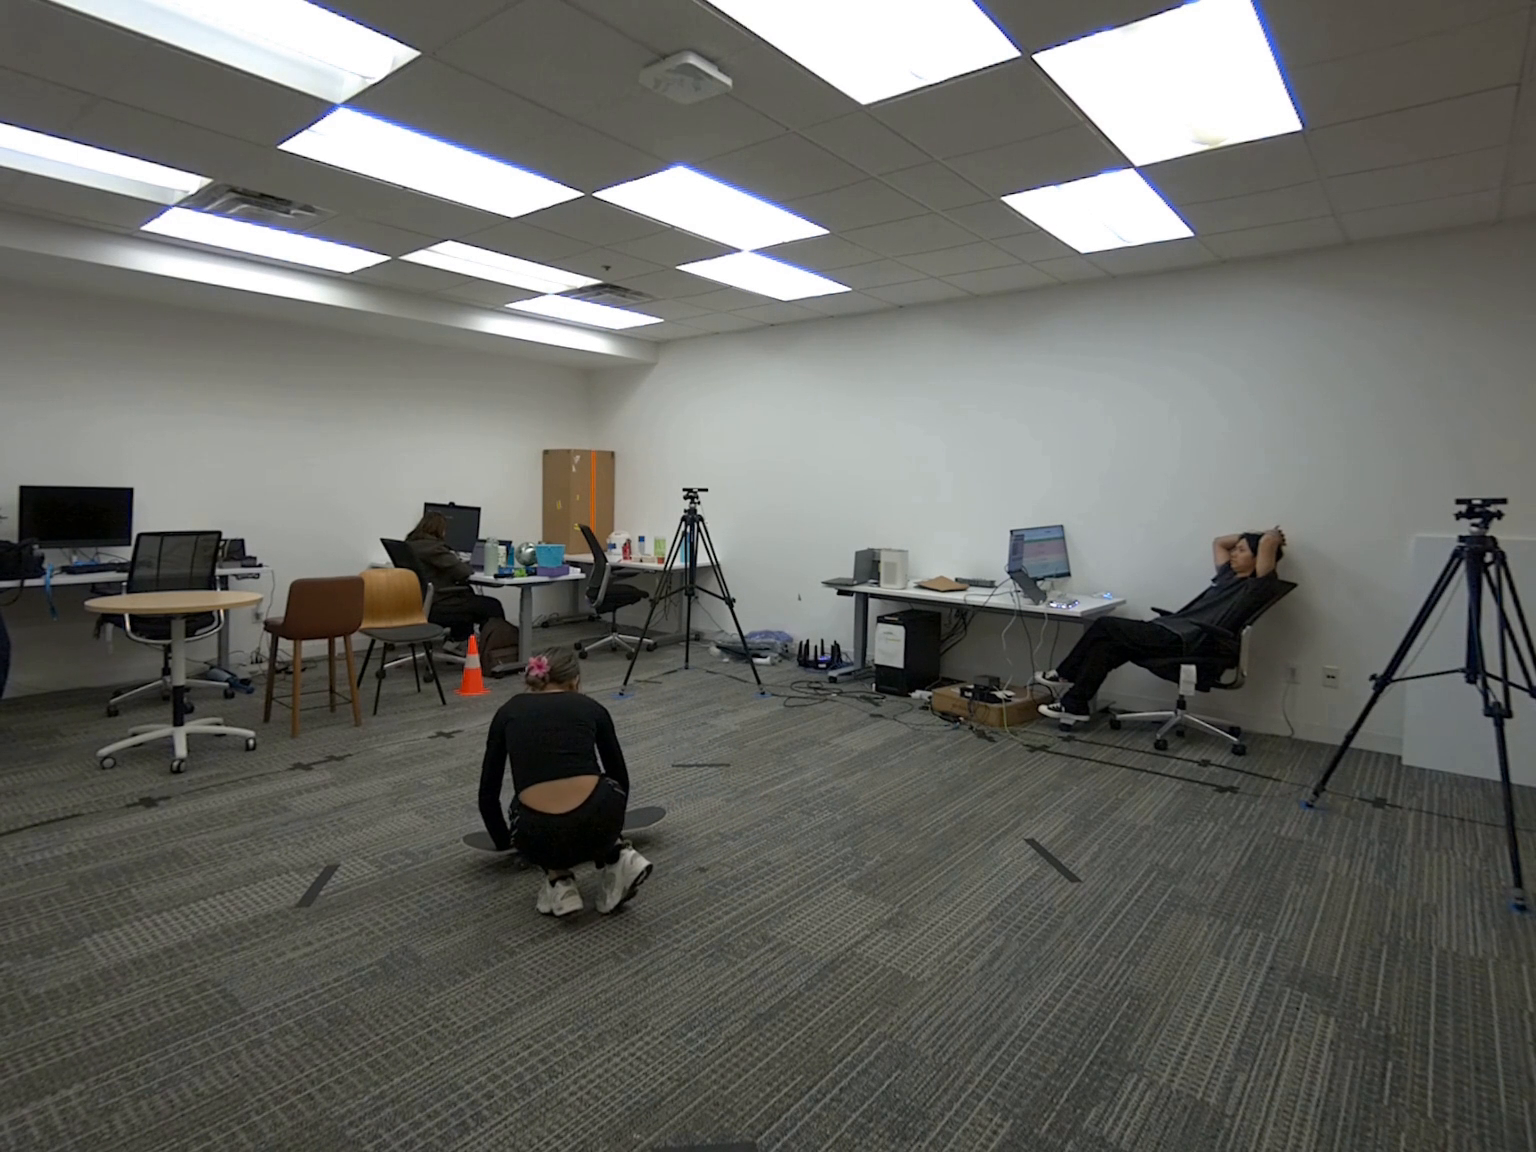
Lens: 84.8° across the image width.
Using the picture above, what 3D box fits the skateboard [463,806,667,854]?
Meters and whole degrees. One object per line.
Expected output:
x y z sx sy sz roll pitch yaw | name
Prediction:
-0.765 0.988 3.228 0.766 0.110 0.199 -2 6 -26 | skateboard
